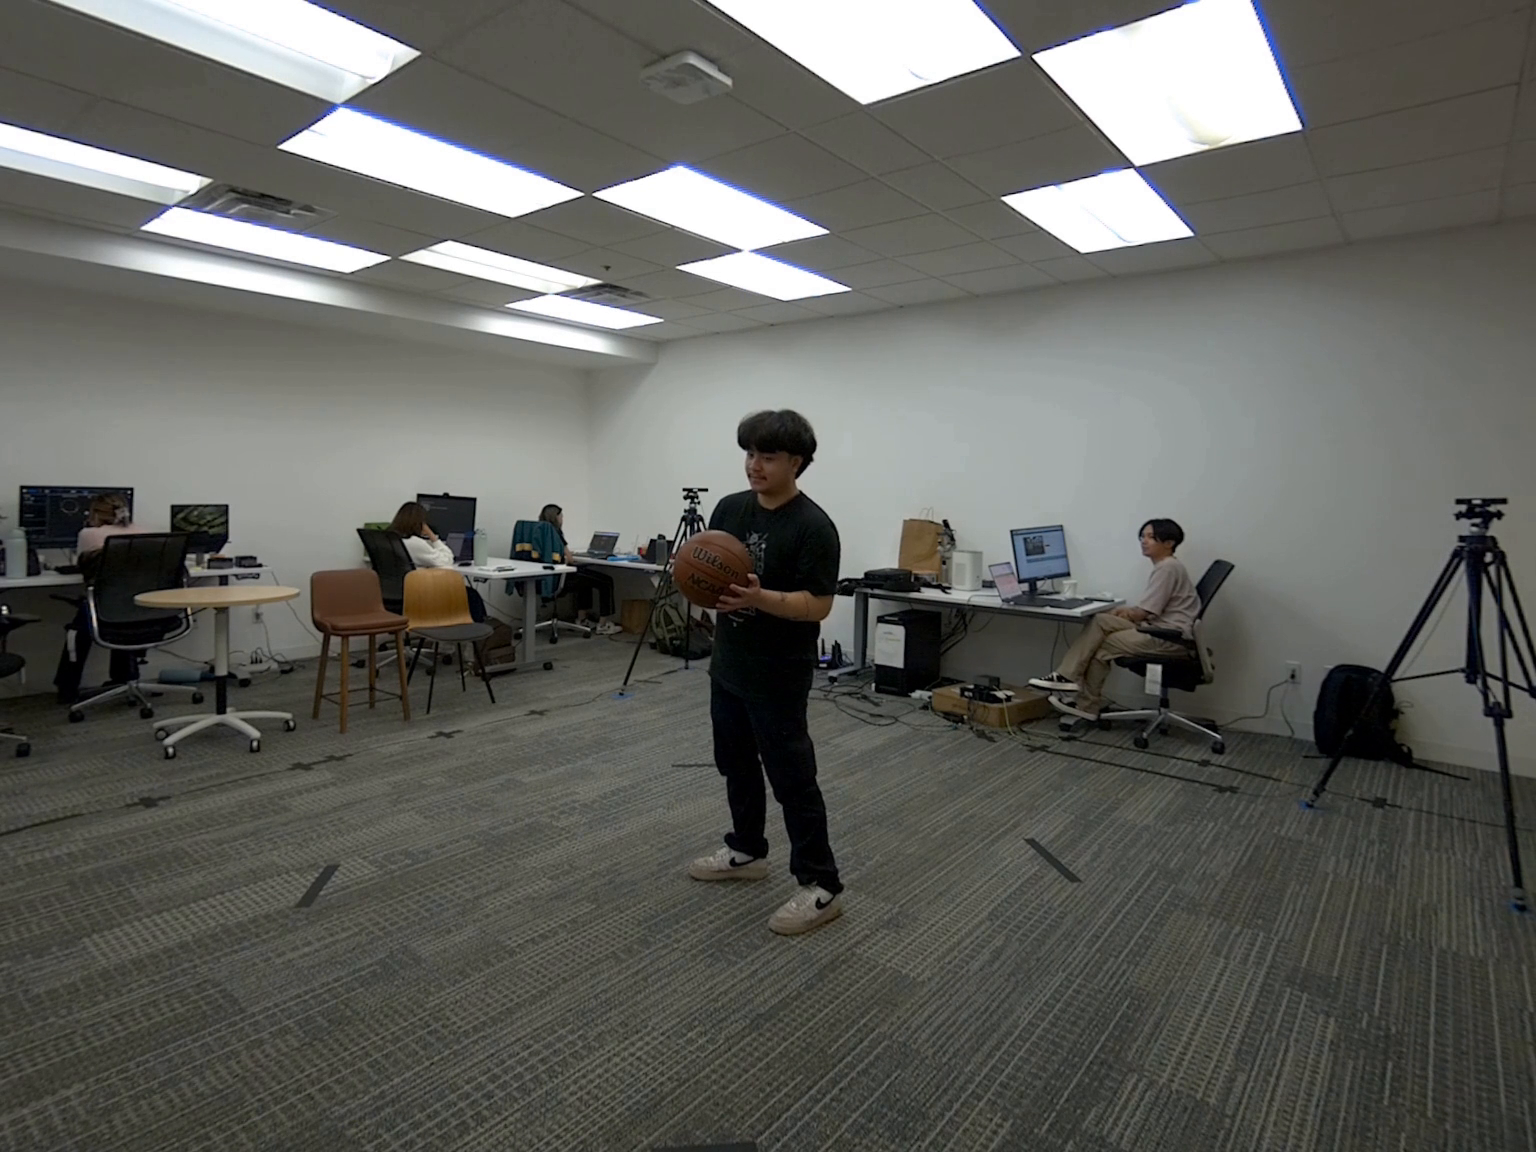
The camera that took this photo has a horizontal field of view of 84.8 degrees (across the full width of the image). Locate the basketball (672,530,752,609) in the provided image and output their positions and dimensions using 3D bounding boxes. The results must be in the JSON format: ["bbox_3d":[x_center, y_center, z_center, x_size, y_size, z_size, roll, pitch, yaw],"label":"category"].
[{"bbox_3d":[-0.178,-0.025,2.579,0.235,0.235,0.237,1,4,-2],"label":"basketball"}]
